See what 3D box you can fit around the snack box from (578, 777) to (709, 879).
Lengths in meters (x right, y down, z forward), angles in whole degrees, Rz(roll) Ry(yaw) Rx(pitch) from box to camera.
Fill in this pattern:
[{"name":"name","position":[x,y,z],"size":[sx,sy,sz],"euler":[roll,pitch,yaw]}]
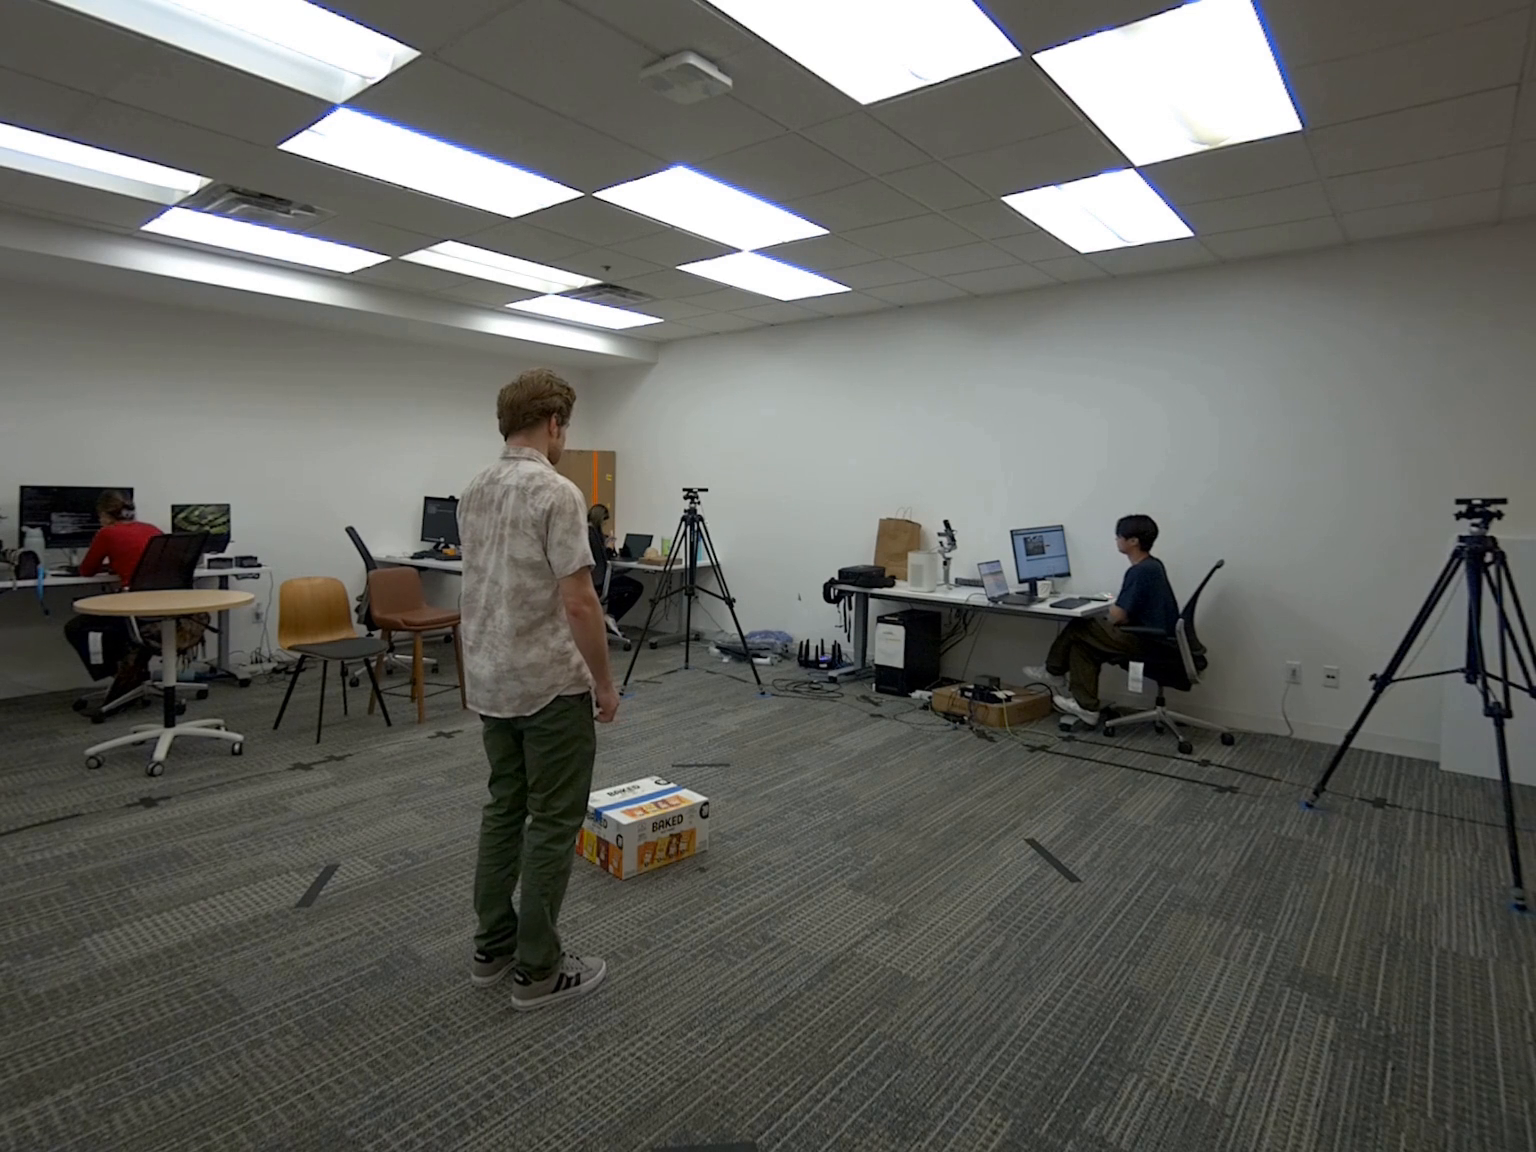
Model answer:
[{"name":"snack box","position":[-0.497,0.950,3.257],"size":[0.393,0.205,0.352],"euler":[-4,7,-43]}]
